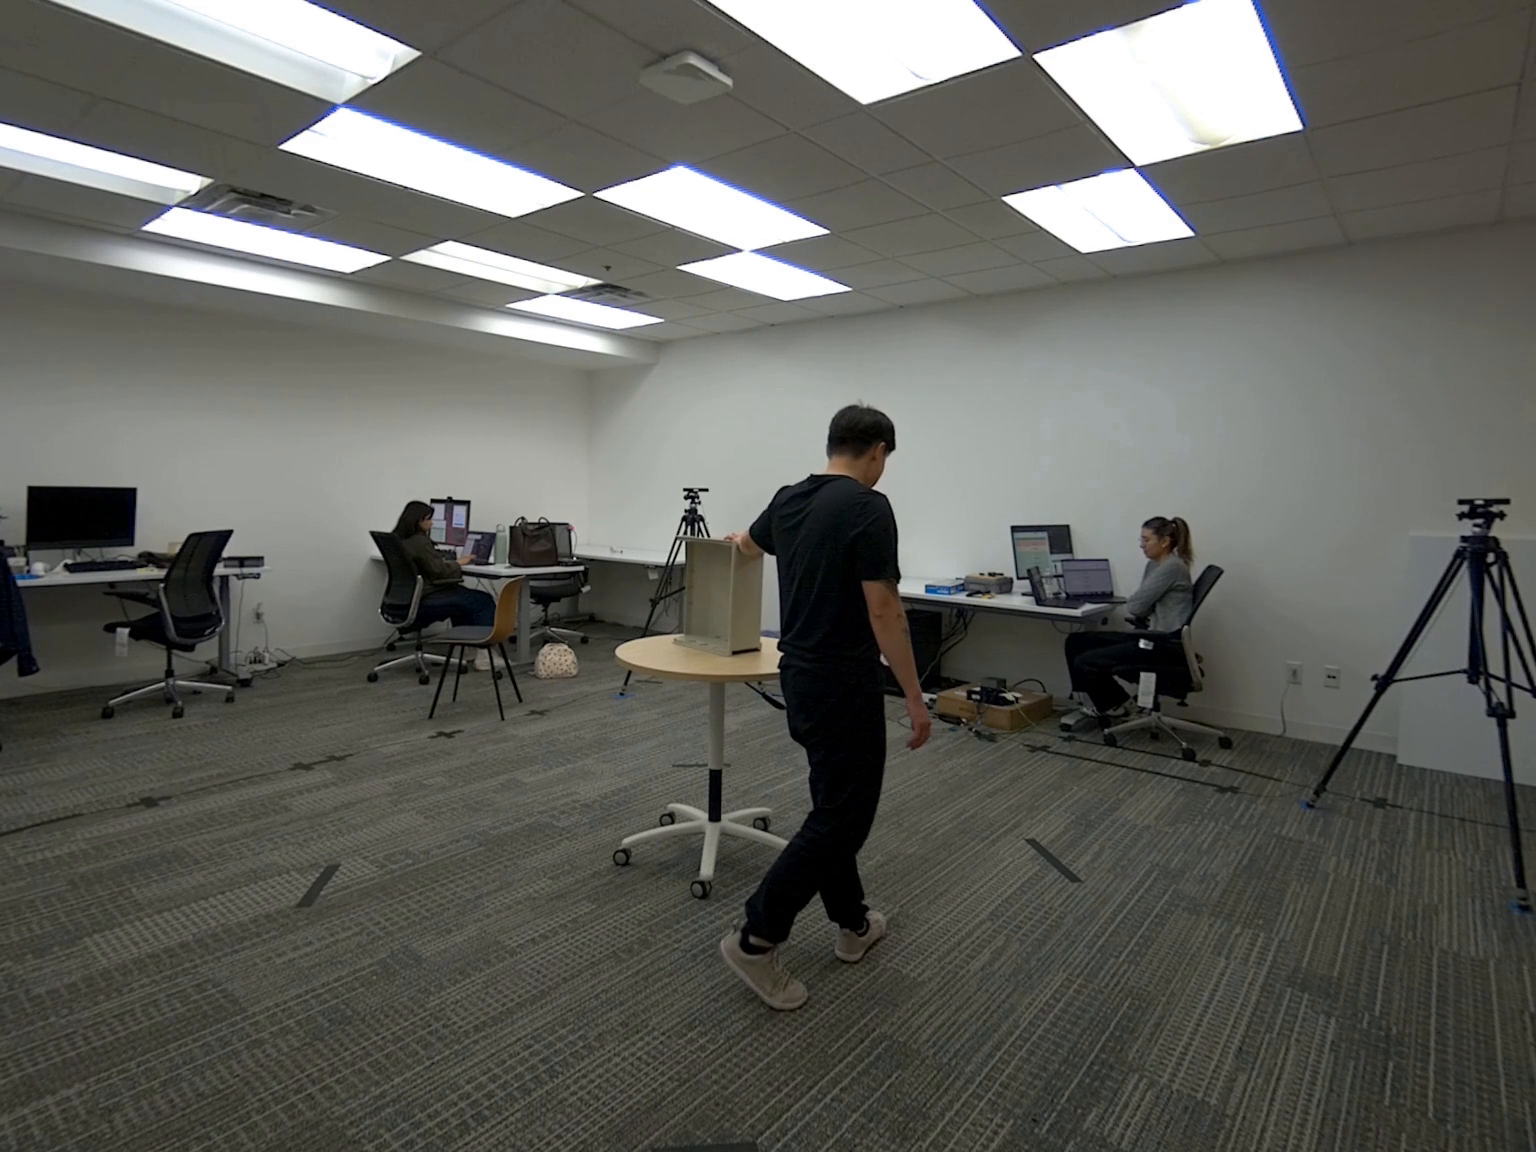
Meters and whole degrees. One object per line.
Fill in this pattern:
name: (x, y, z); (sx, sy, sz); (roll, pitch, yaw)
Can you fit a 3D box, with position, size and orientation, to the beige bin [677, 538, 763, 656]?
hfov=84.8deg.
beige bin: (-0.215, 0.062, 3.277); (0.183, 0.422, 0.390); (1, 3, -45)
